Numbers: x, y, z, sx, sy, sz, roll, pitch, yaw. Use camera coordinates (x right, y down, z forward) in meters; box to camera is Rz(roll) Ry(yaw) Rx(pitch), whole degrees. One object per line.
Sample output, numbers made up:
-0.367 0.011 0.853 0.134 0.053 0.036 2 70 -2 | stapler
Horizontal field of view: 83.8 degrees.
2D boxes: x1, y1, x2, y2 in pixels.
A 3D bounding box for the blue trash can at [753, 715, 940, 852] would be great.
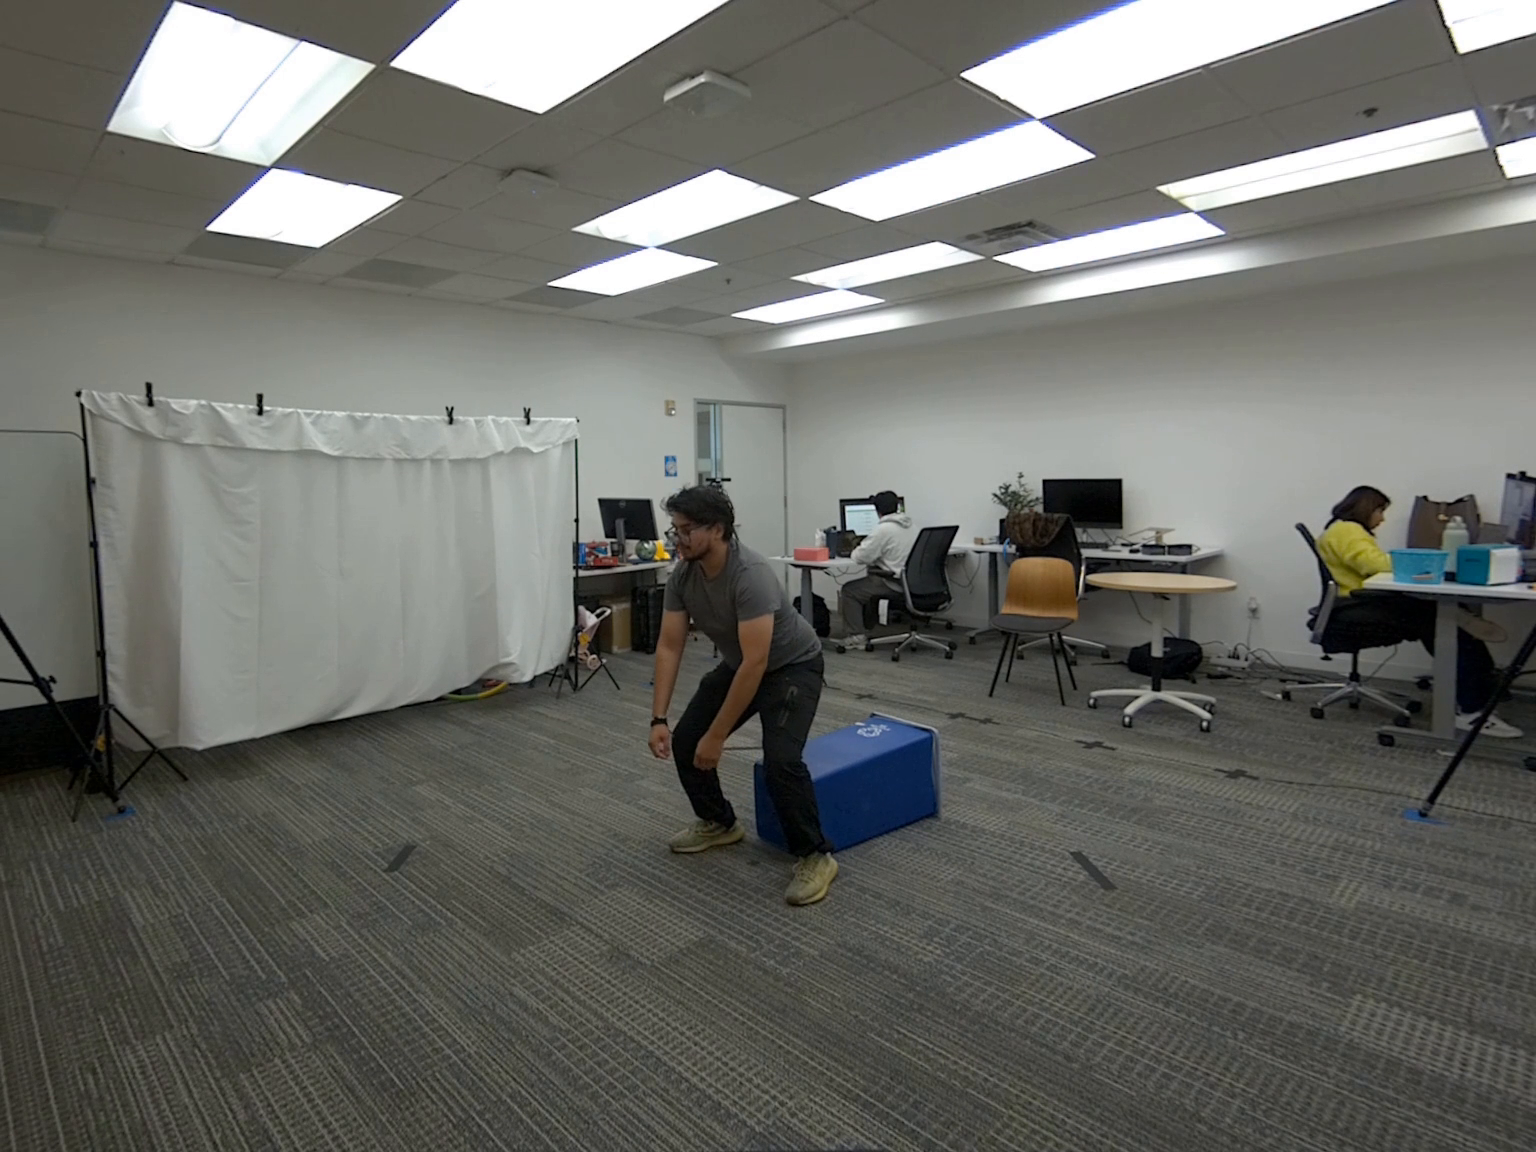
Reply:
0.321 0.826 3.407 0.696 0.372 0.389 -8 8 -39 | blue trash can
